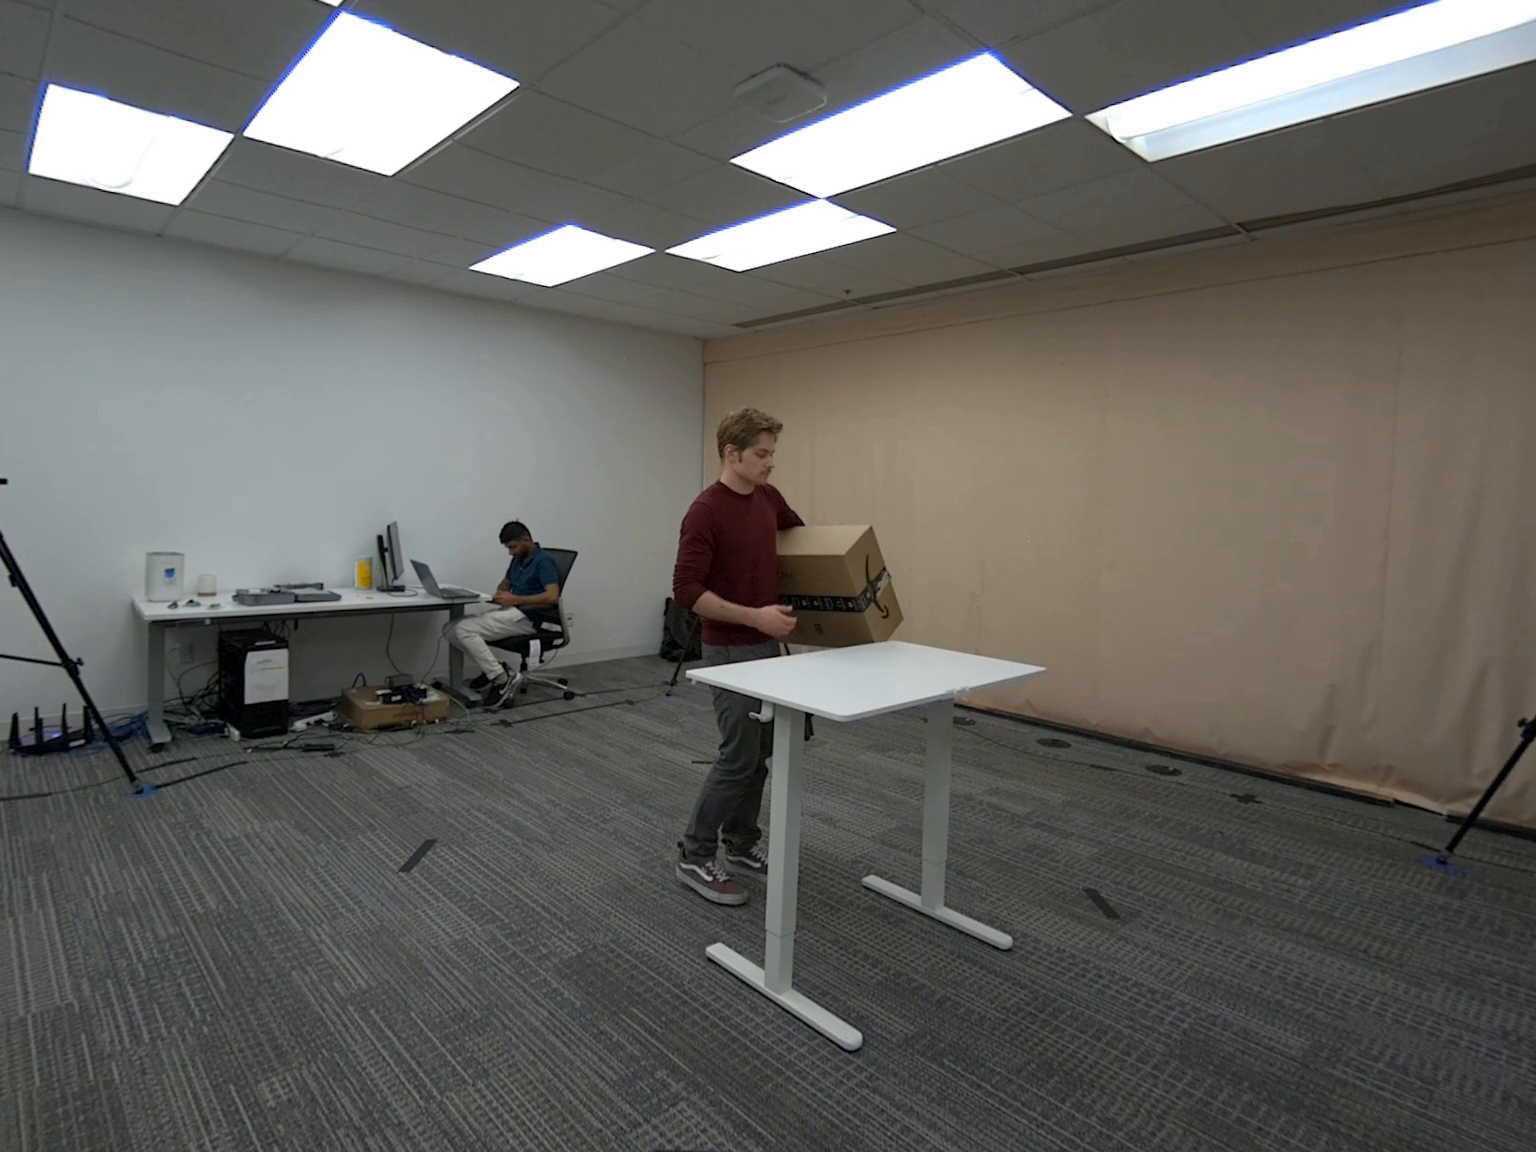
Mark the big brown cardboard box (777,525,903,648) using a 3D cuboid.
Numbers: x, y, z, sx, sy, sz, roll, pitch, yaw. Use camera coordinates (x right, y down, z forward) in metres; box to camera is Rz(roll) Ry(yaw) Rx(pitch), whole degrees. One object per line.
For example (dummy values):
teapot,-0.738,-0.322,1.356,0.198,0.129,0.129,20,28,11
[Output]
big brown cardboard box,0.156,0.037,3.236,0.603,0.409,0.232,1,32,41
